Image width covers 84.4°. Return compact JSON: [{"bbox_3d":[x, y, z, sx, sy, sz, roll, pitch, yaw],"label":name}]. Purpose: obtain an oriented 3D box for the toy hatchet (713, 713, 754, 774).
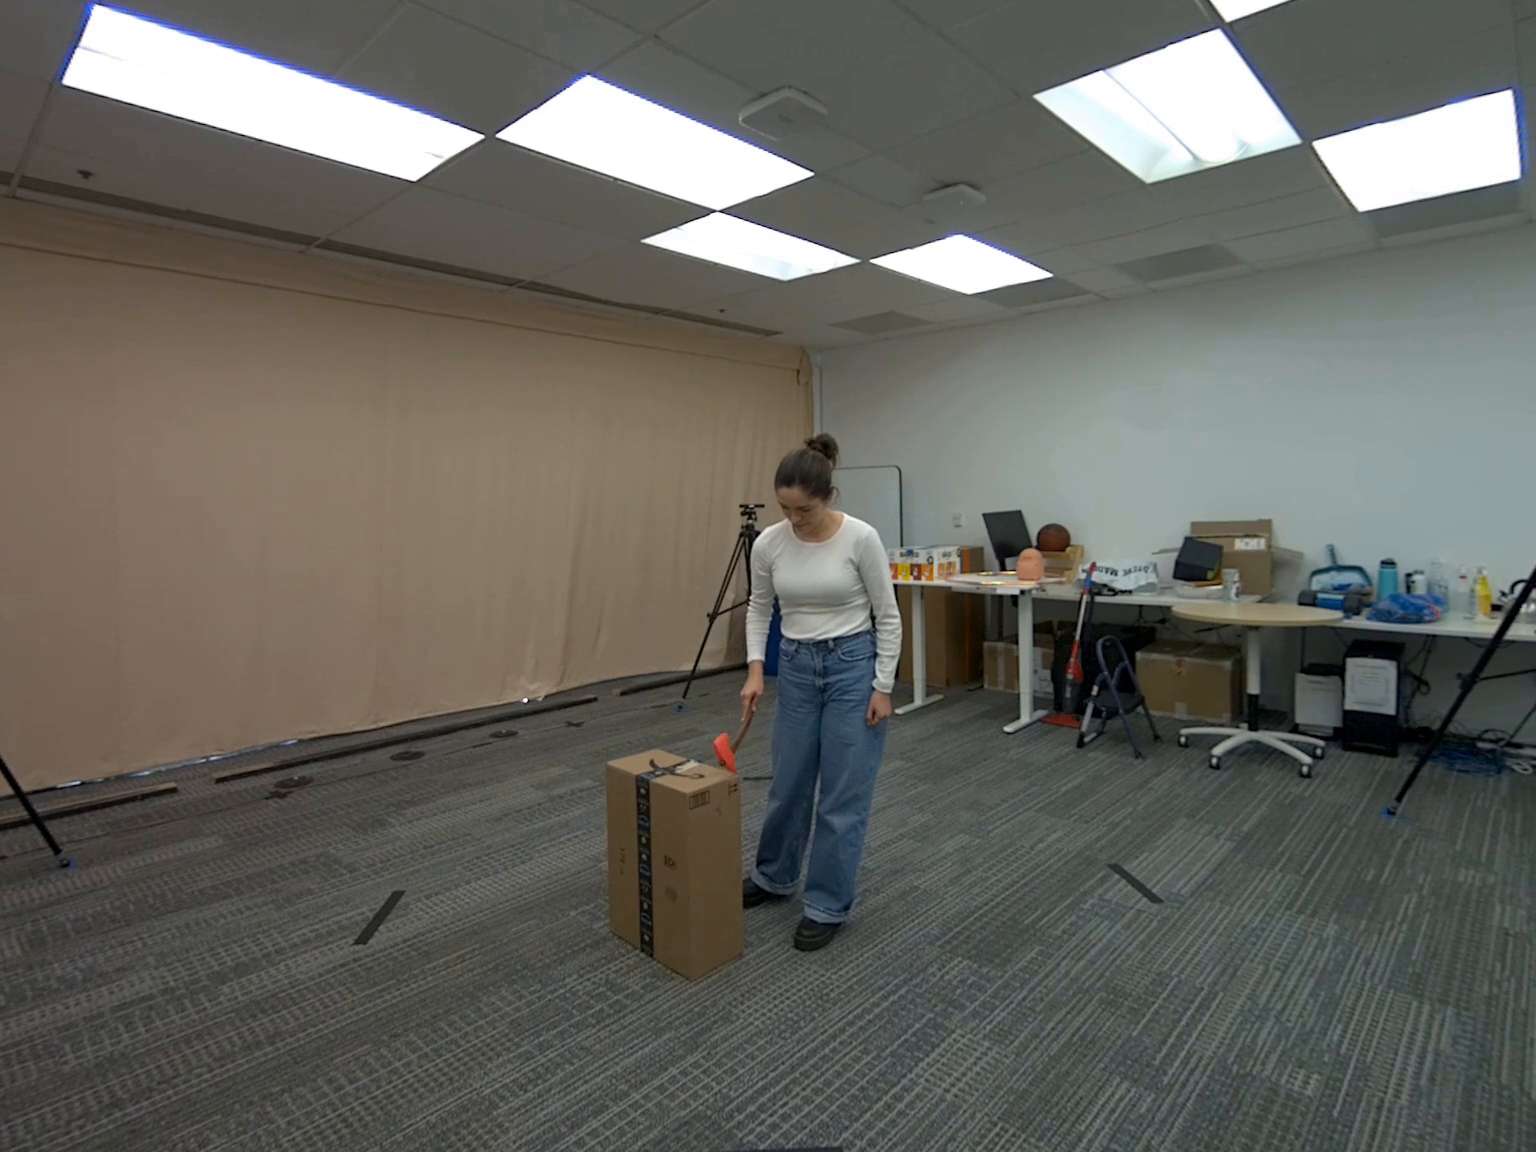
[{"bbox_3d":[-0.123,0.468,2.586,0.030,0.271,0.127,-11,-46,43],"label":"toy hatchet"}]
